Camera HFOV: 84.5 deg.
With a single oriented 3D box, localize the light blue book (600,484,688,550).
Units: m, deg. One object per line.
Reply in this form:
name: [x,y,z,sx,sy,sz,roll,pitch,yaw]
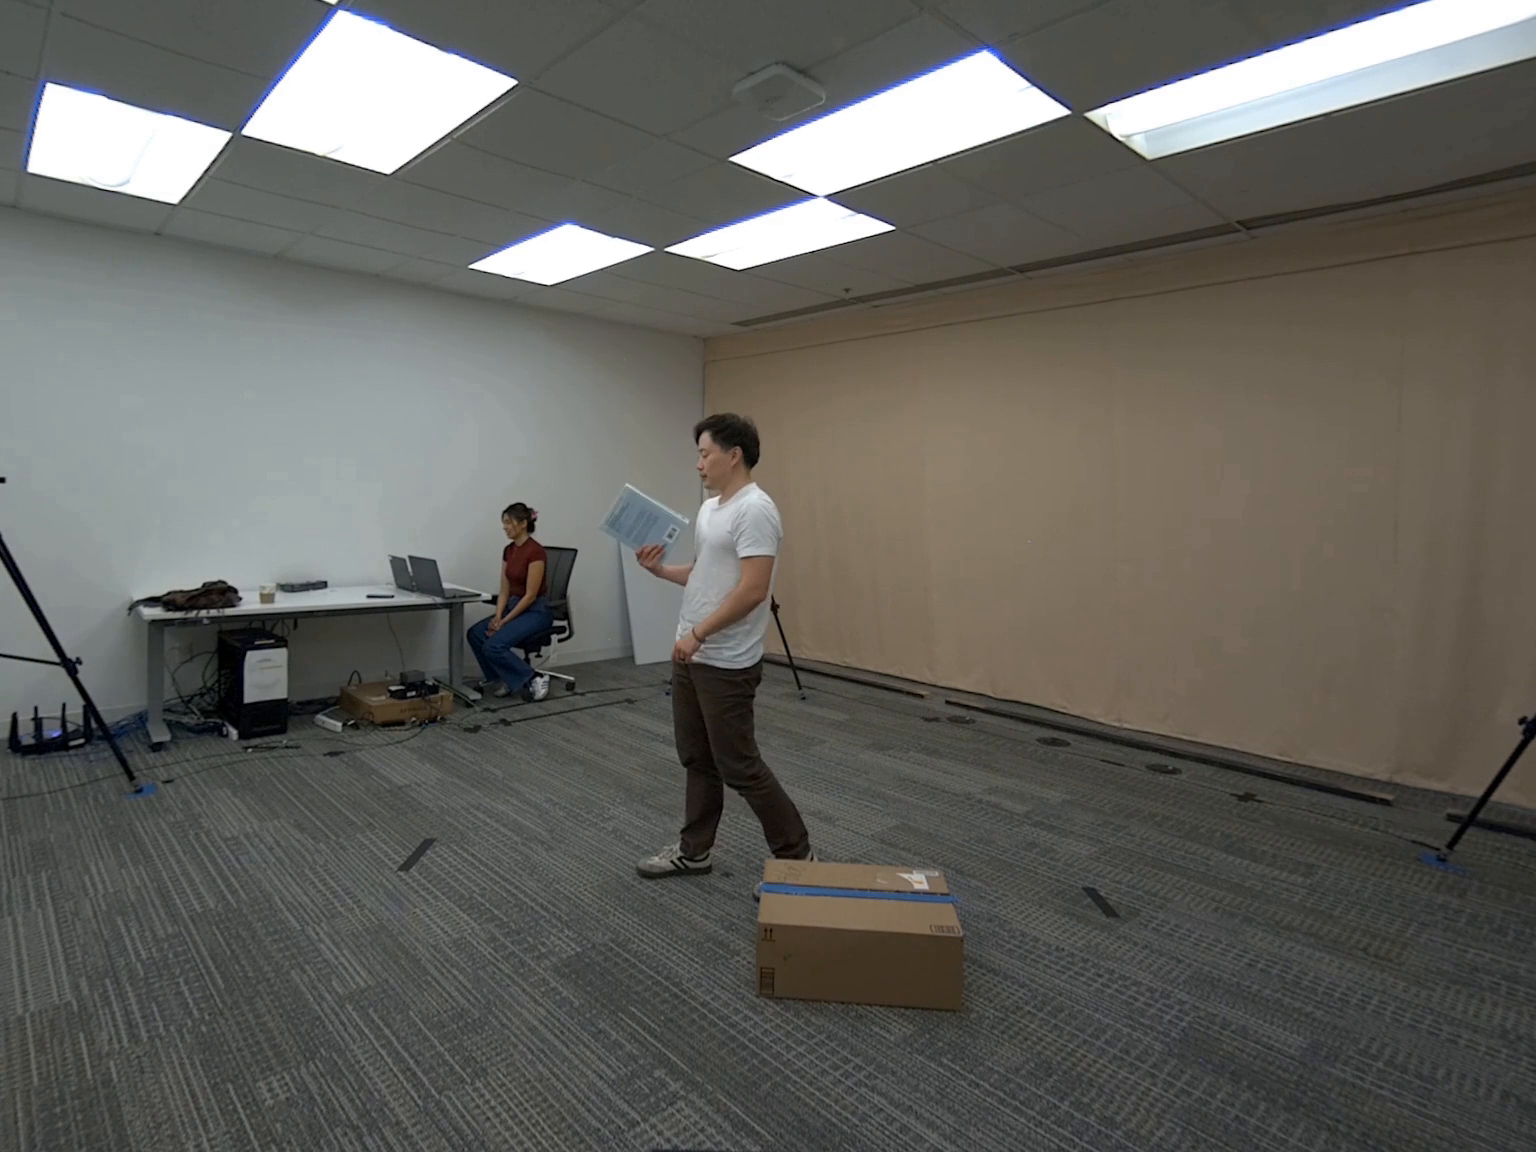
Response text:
light blue book: [-0.447,-0.174,3.002,0.258,0.191,0.059,32,7,-9]
